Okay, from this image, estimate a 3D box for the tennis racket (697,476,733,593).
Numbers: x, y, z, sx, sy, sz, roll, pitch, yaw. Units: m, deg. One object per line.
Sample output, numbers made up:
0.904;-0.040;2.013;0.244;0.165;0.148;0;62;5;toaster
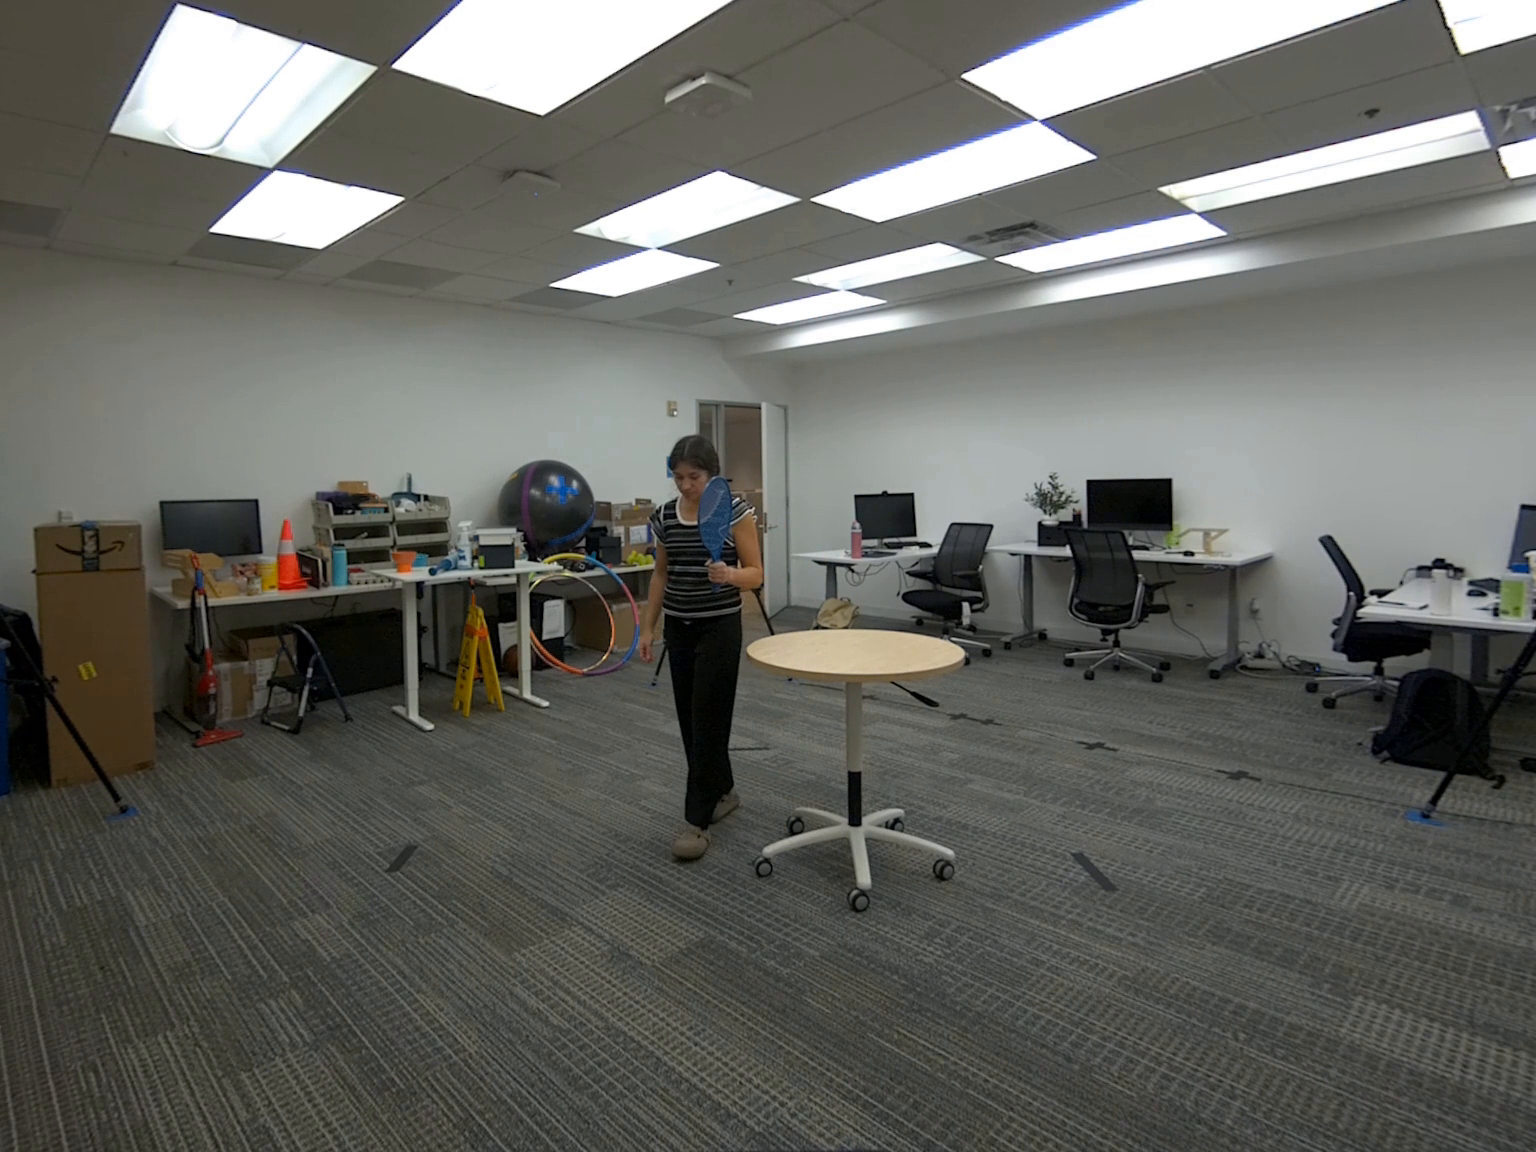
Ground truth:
-0.185;-0.143;3.066;0.032;0.426;0.211;14;23;24;tennis racket
